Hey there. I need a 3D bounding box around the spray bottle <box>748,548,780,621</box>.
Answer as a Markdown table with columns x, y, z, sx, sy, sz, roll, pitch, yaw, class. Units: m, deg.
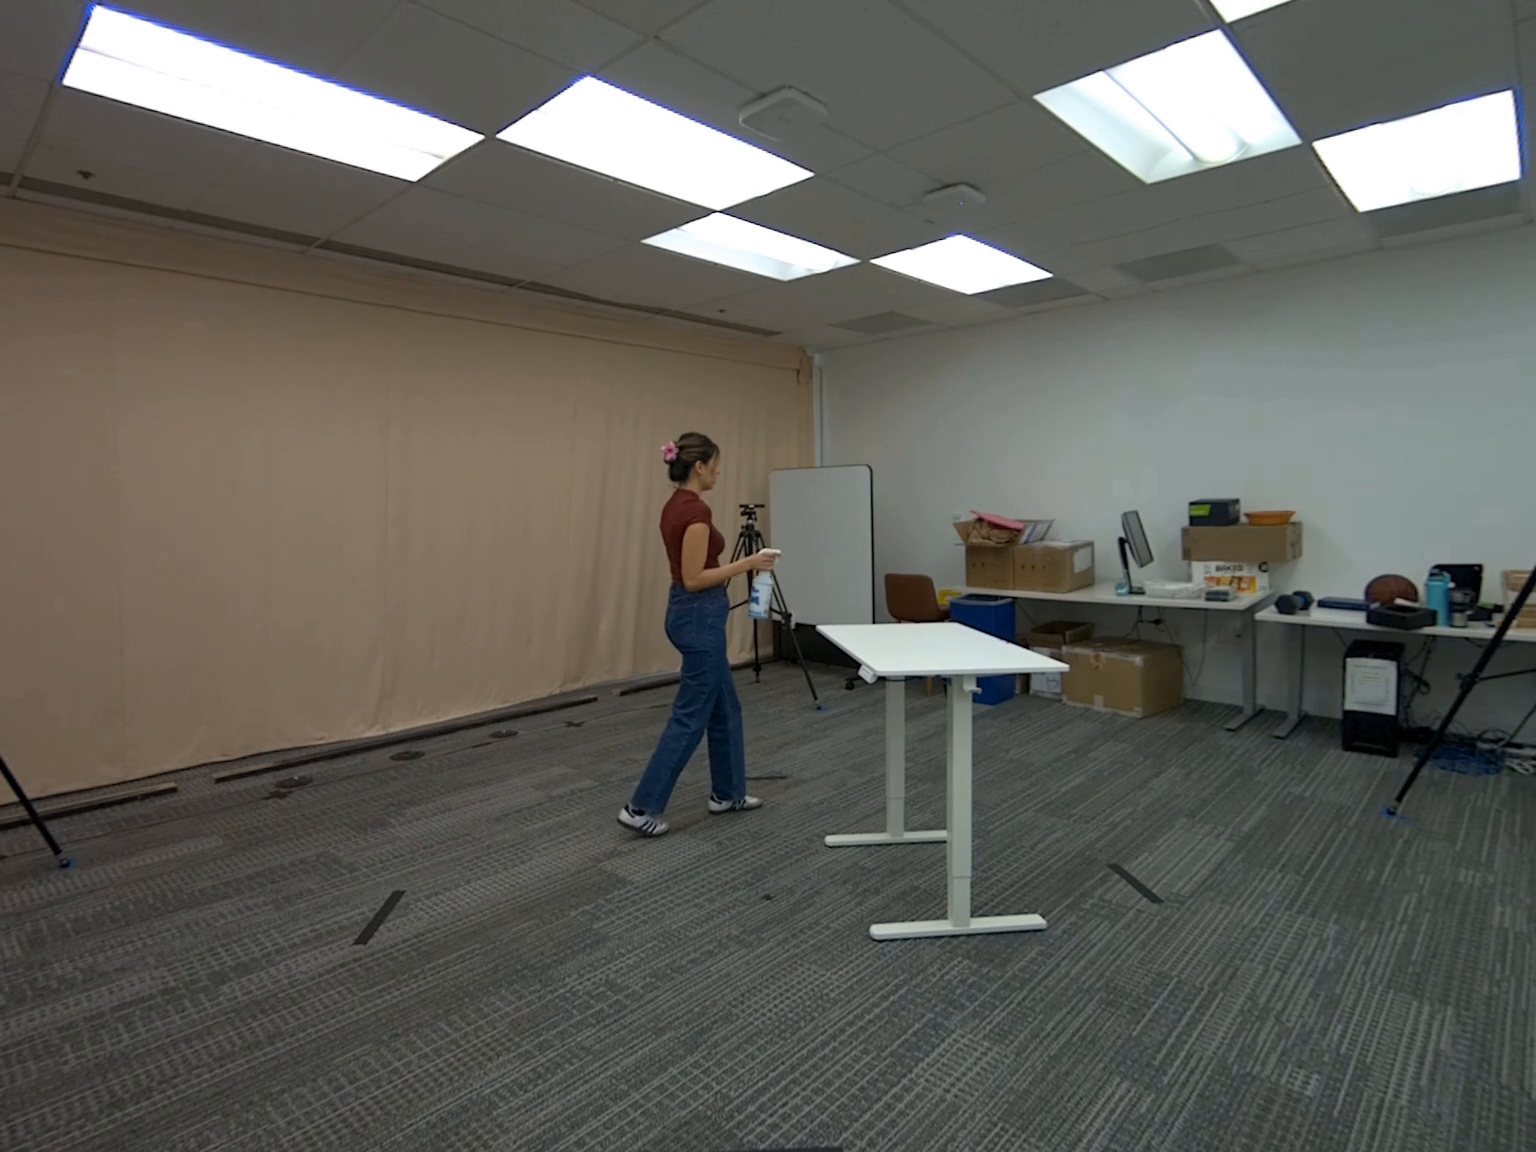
| x | y | z | sx | sy | sz | roll | pitch | yaw | class |
| --- | --- | --- | --- | --- | --- | --- | --- | --- | --- |
| -0.021 | 0.031 | 3.546 | 0.091 | 0.297 | 0.086 | 11 | 4 | 12 | spray bottle |
